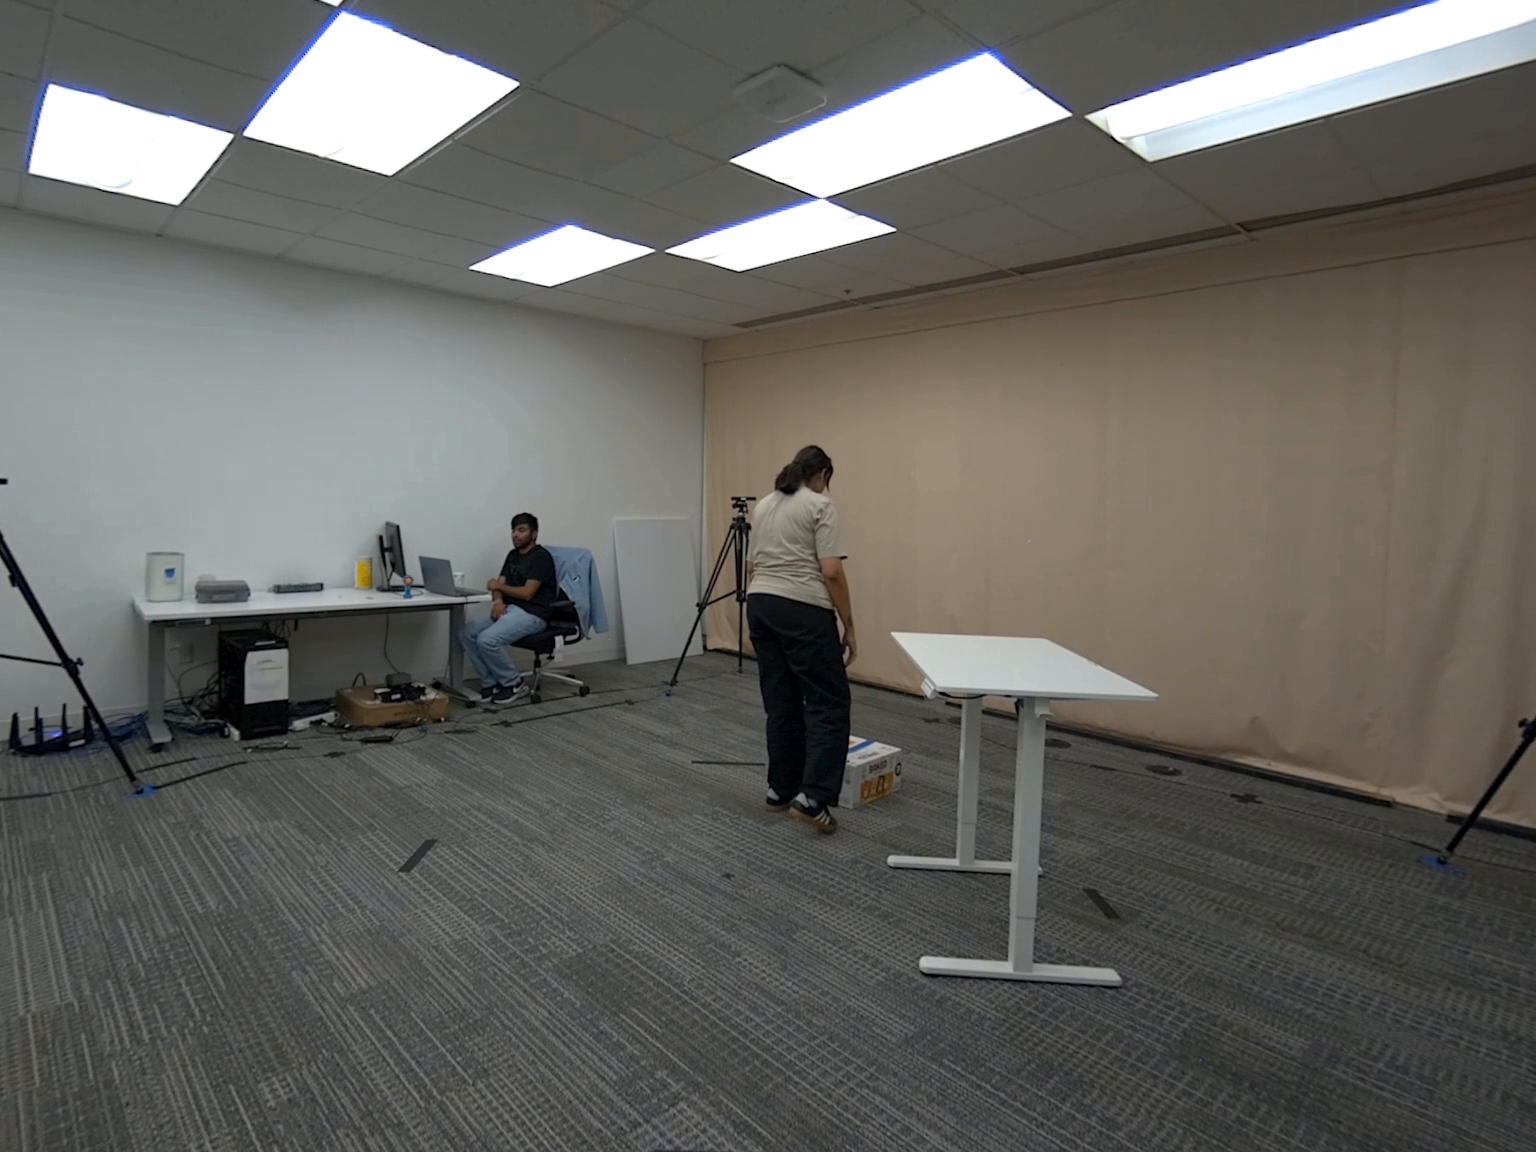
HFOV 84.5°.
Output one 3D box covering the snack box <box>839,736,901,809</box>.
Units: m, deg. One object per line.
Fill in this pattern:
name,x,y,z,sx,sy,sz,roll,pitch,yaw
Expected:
snack box,0.379,0.938,4.065,0.349,0.205,0.396,5,6,42
